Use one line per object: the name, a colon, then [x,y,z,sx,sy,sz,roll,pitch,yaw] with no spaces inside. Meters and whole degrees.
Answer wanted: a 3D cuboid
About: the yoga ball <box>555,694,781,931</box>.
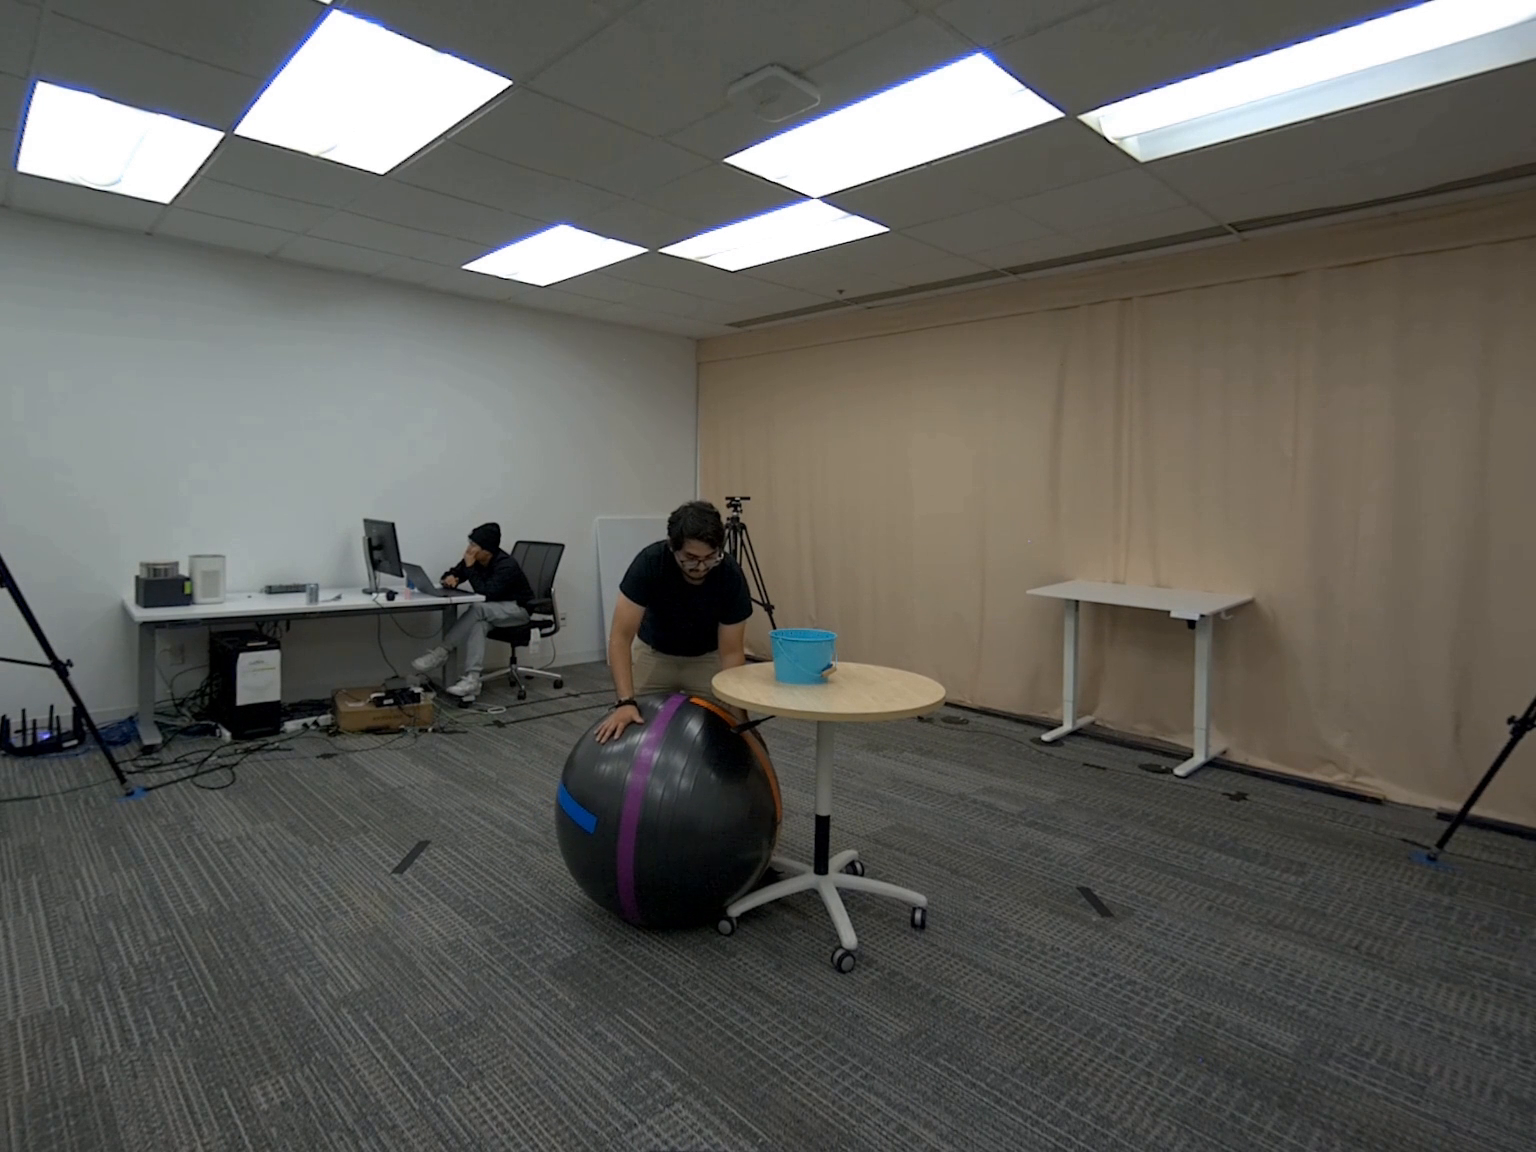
yoga ball: [-0.346,0.791,2.851,0.757,0.756,0.761,1,4,-1]
